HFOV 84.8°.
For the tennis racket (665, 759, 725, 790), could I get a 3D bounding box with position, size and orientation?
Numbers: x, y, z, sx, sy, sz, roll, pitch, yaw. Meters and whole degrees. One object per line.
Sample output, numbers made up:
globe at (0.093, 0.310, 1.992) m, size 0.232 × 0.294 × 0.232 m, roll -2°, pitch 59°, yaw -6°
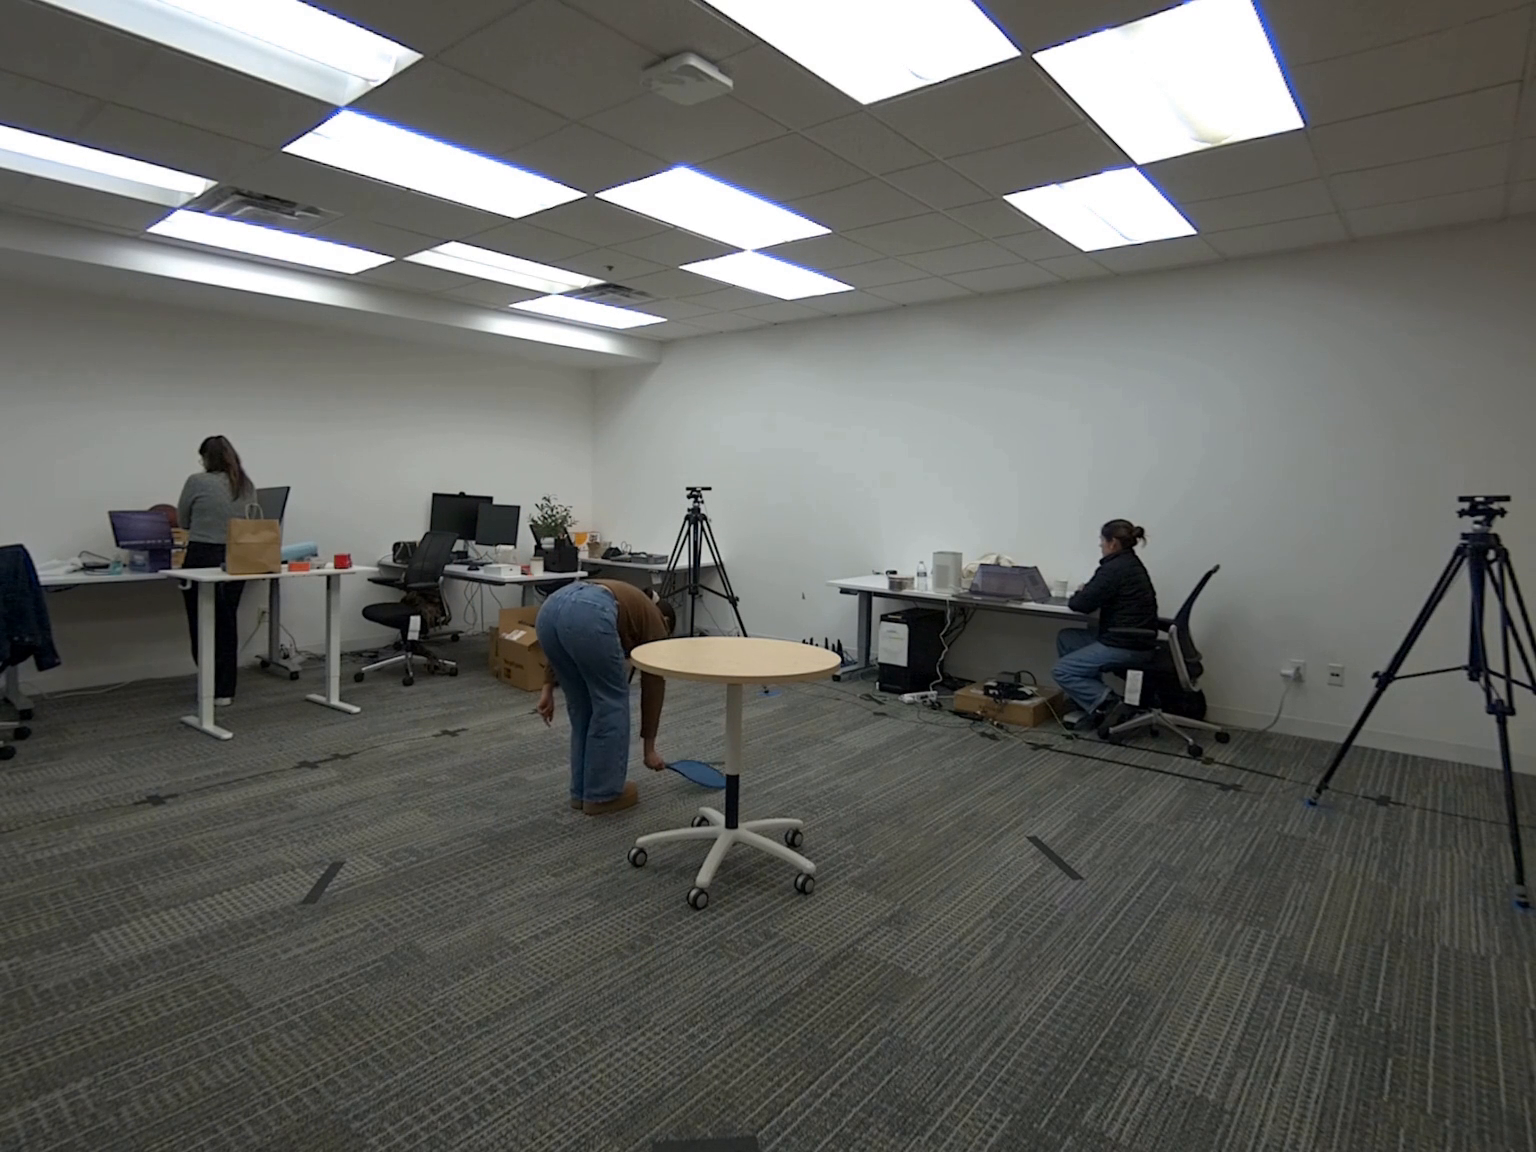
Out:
tennis racket at (-0.398, 0.891, 3.955) m, size 0.421 × 0.031 × 0.220 m, roll 17°, pitch 10°, yaw -22°
